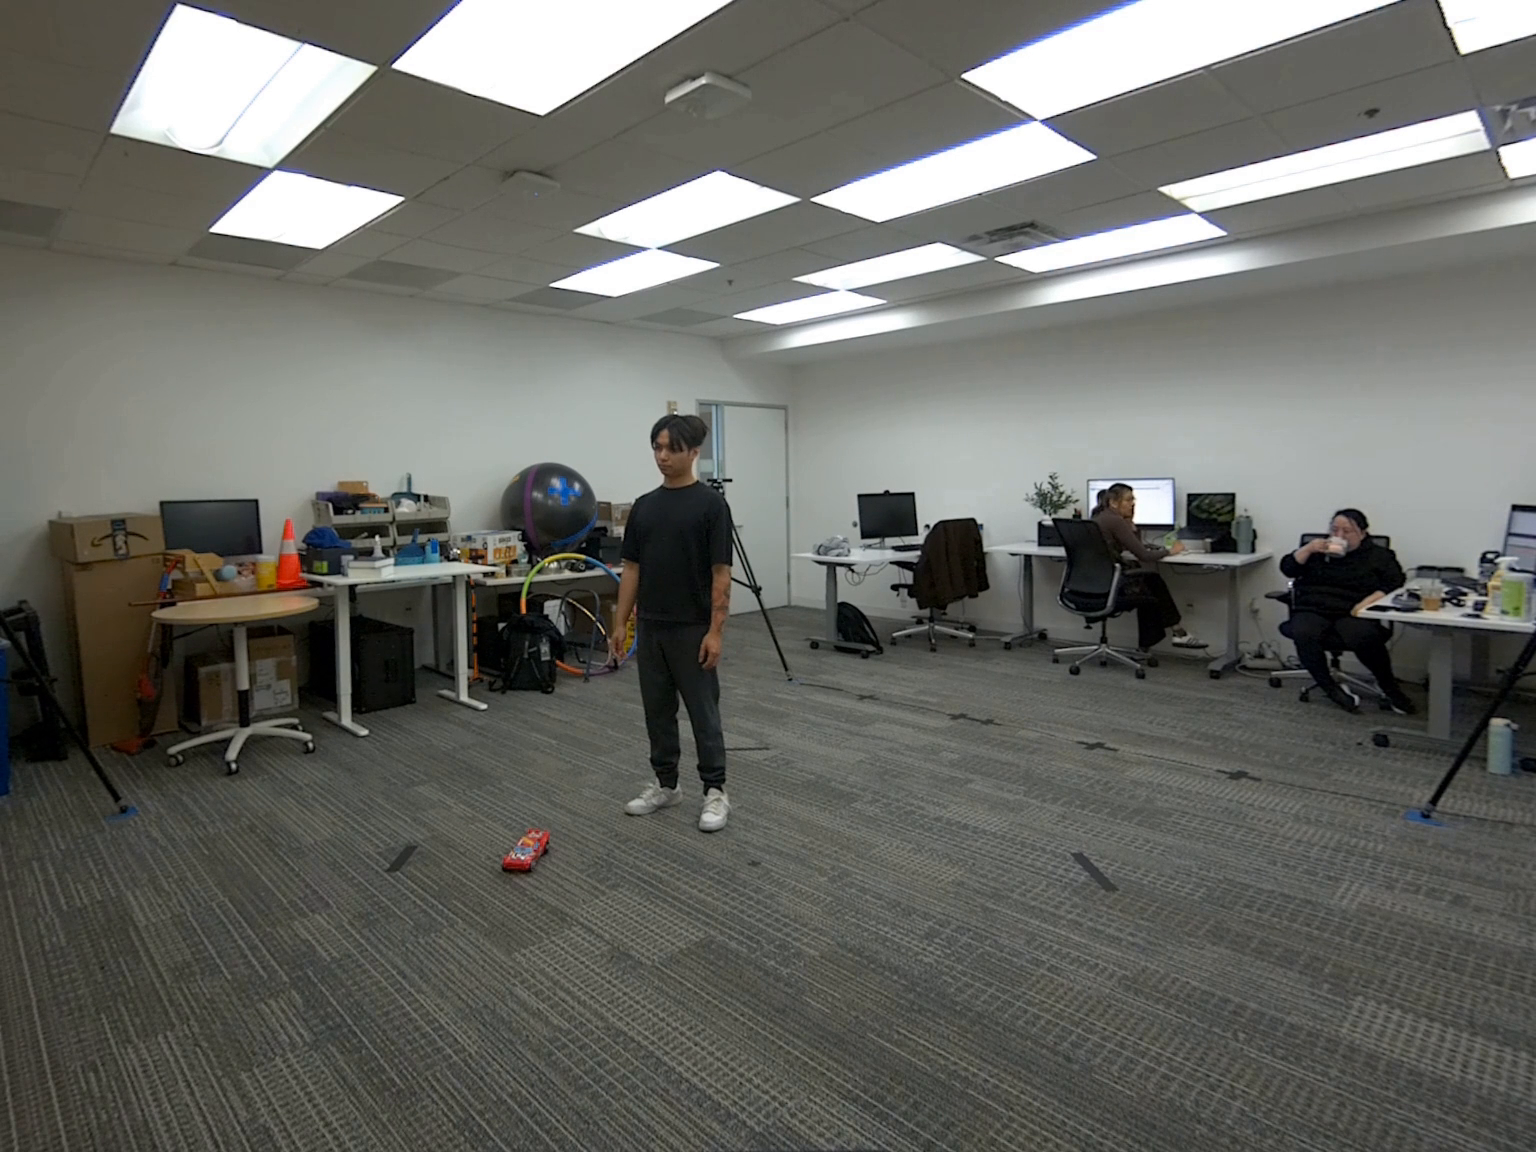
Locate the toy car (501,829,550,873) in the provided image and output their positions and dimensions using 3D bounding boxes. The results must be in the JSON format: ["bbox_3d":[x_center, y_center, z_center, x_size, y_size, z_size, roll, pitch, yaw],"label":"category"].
[{"bbox_3d":[-0.892,1.023,3.177,0.131,0.082,0.256,0,17,7],"label":"toy car"}]
